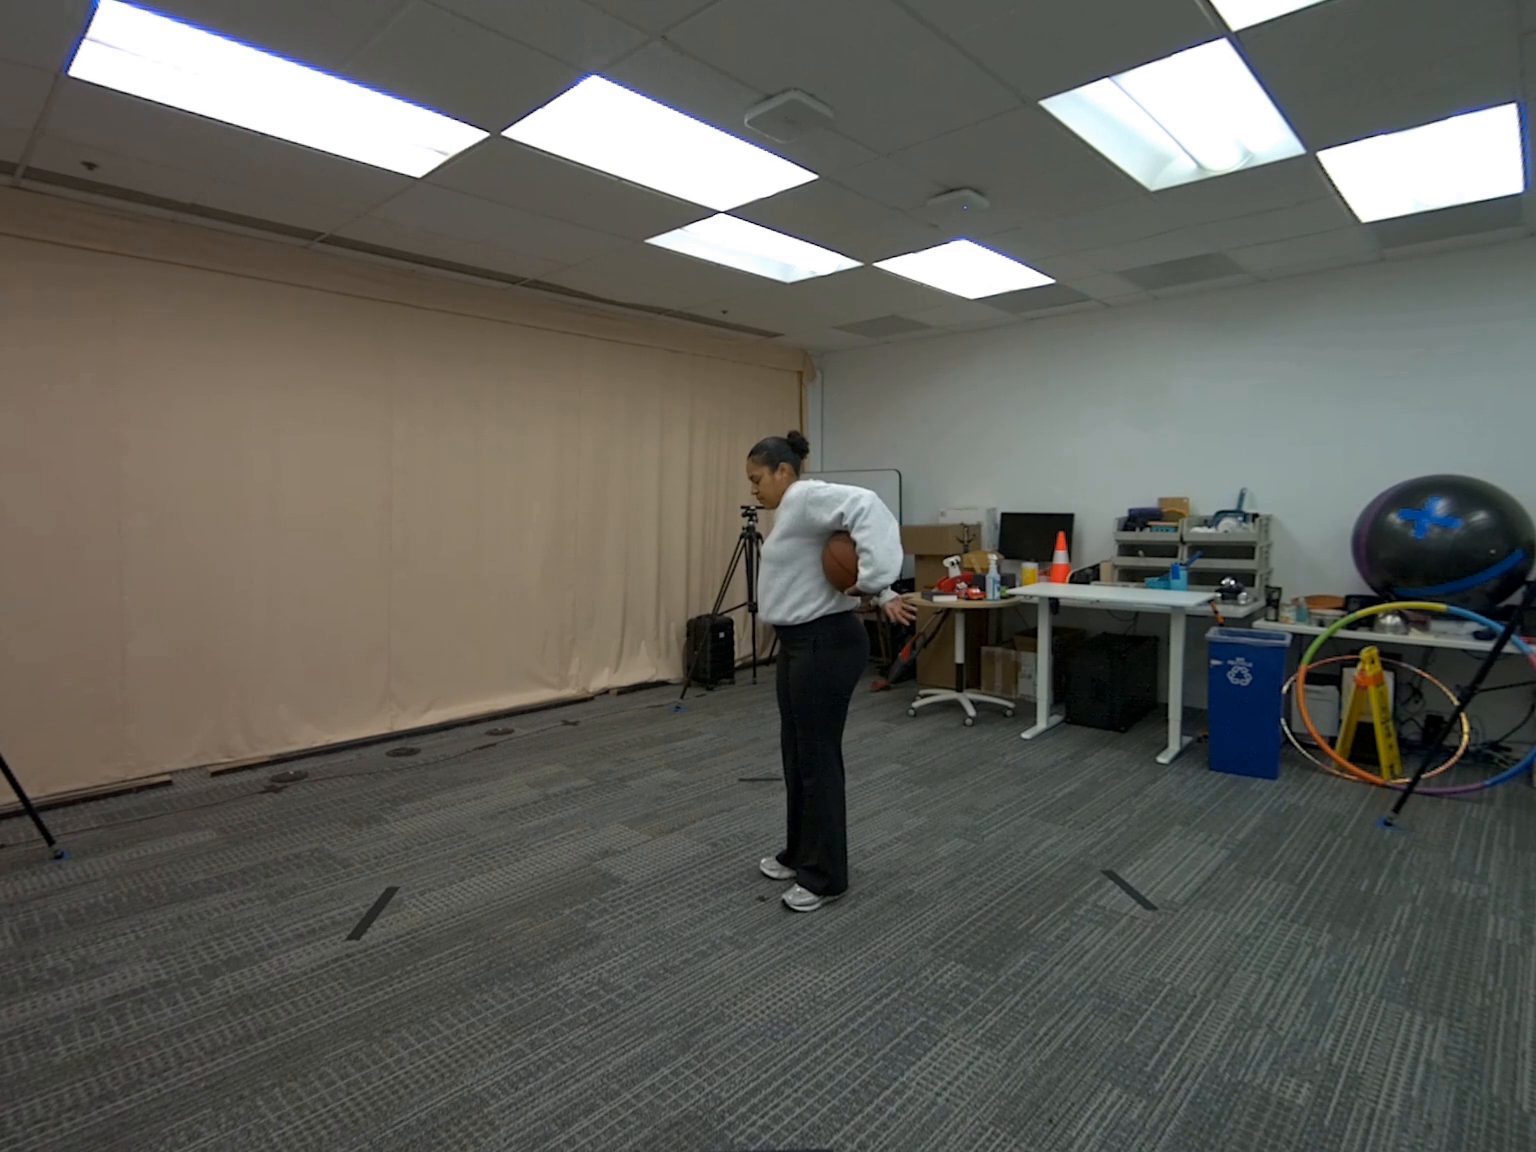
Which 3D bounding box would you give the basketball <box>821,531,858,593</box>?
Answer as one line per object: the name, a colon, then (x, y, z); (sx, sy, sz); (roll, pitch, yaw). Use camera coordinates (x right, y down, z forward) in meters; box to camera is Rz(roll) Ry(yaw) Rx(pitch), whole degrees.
basketball: (0.304, -0.051, 2.777); (0.236, 0.235, 0.237); (0, 4, -2)
